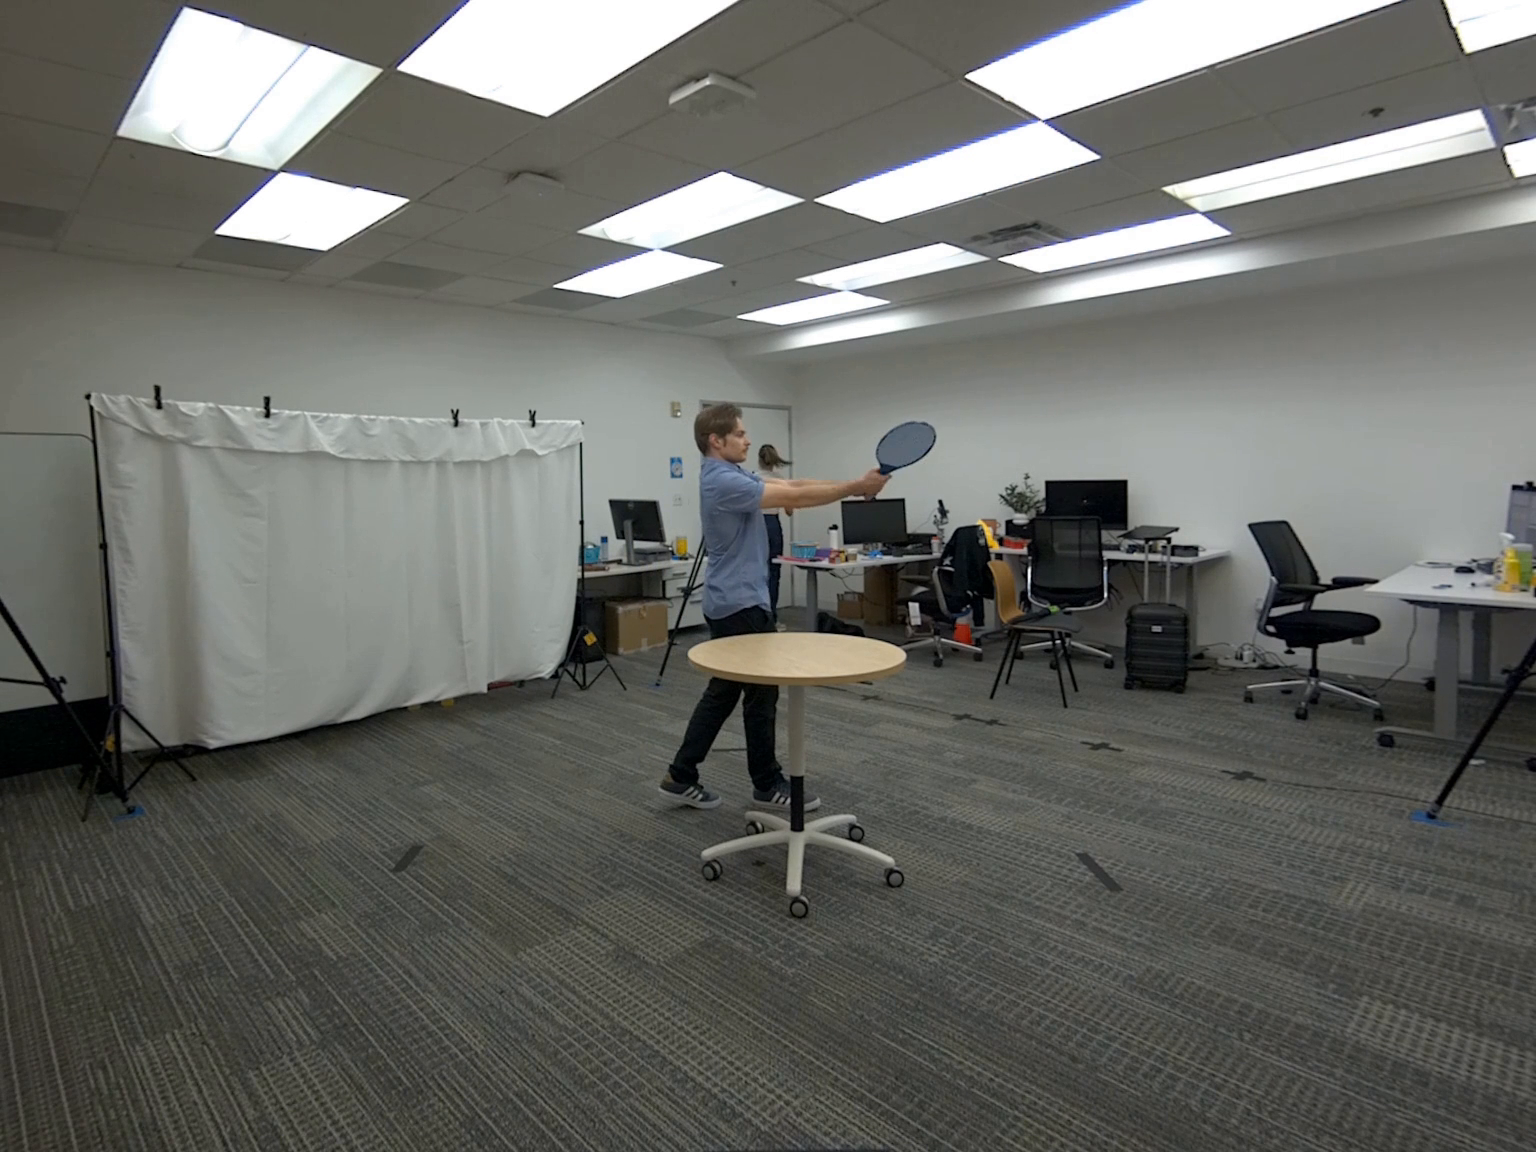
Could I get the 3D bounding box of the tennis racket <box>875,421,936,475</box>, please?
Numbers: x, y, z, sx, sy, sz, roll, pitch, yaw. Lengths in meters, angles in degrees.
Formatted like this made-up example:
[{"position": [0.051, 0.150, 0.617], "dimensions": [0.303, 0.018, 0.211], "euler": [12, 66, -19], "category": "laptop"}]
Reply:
[{"position": [0.504, -0.455, 3.356], "dimensions": [0.210, 0.033, 0.427], "euler": [7, -38, -16], "category": "tennis racket"}]
